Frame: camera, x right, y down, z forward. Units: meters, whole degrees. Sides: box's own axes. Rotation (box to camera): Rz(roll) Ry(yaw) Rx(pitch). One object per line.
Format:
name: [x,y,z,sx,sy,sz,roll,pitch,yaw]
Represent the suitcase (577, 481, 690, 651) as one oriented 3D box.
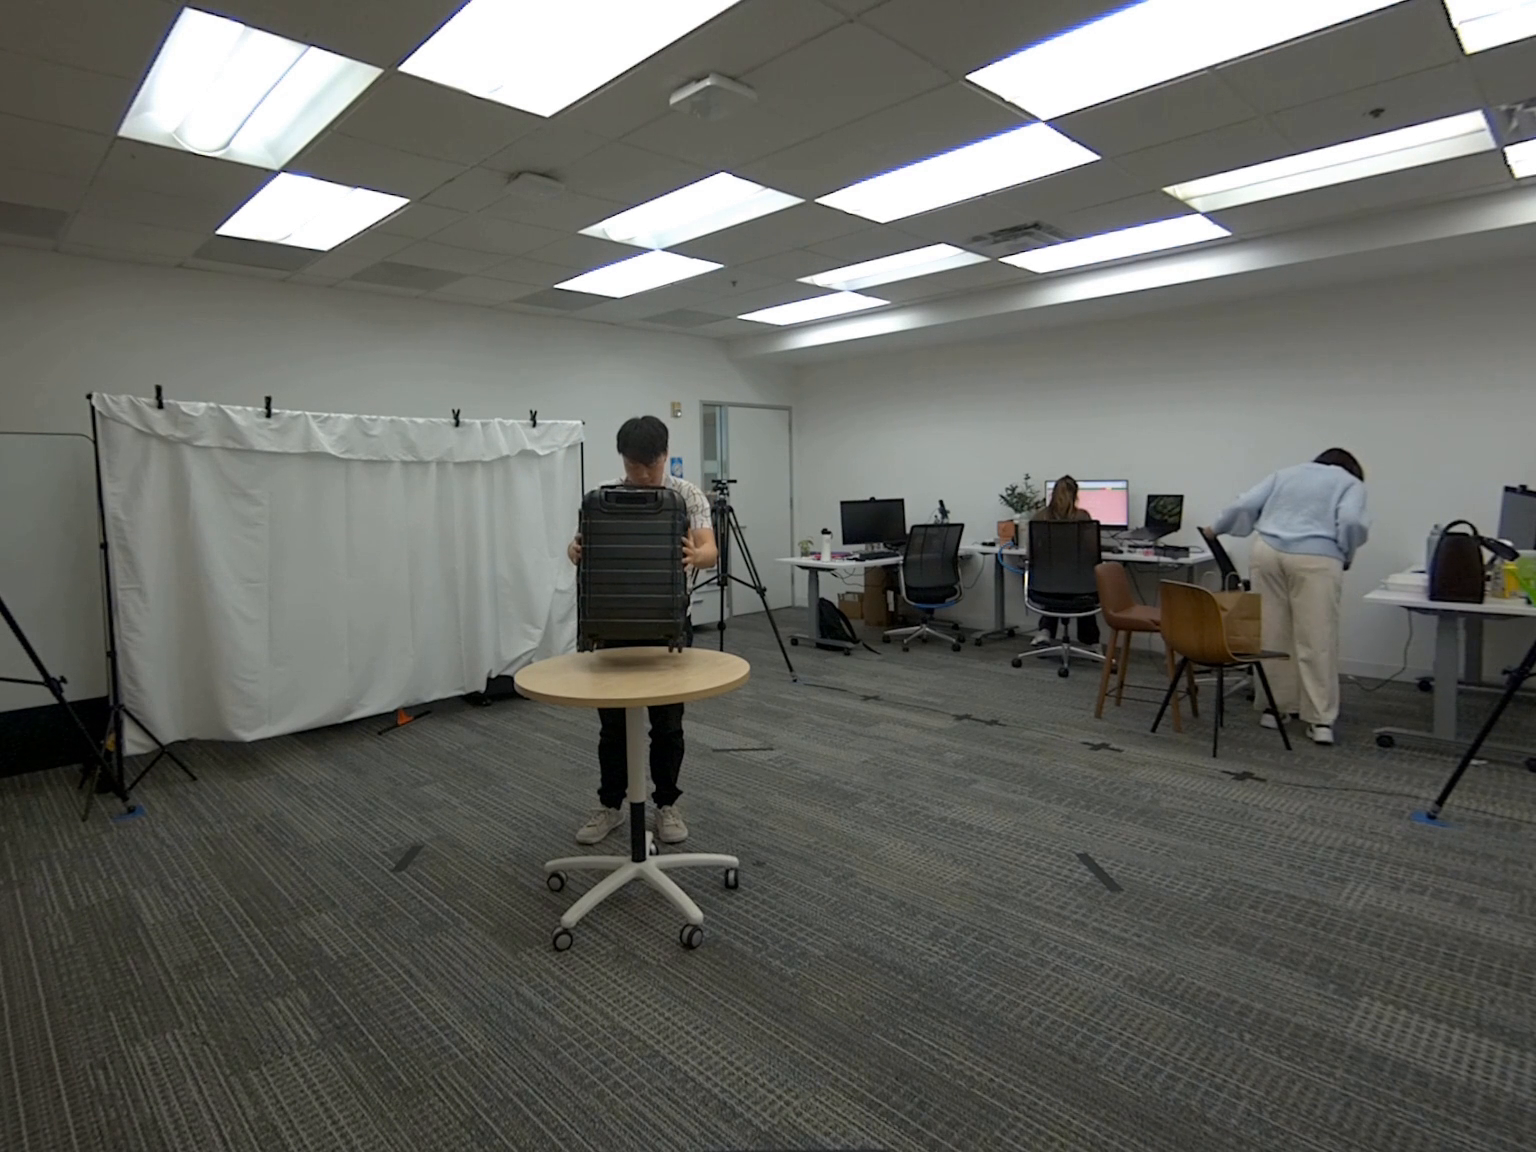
suitcase: [-0.460,-0.029,2.896,0.376,0.549,0.248,-1,1,3]
